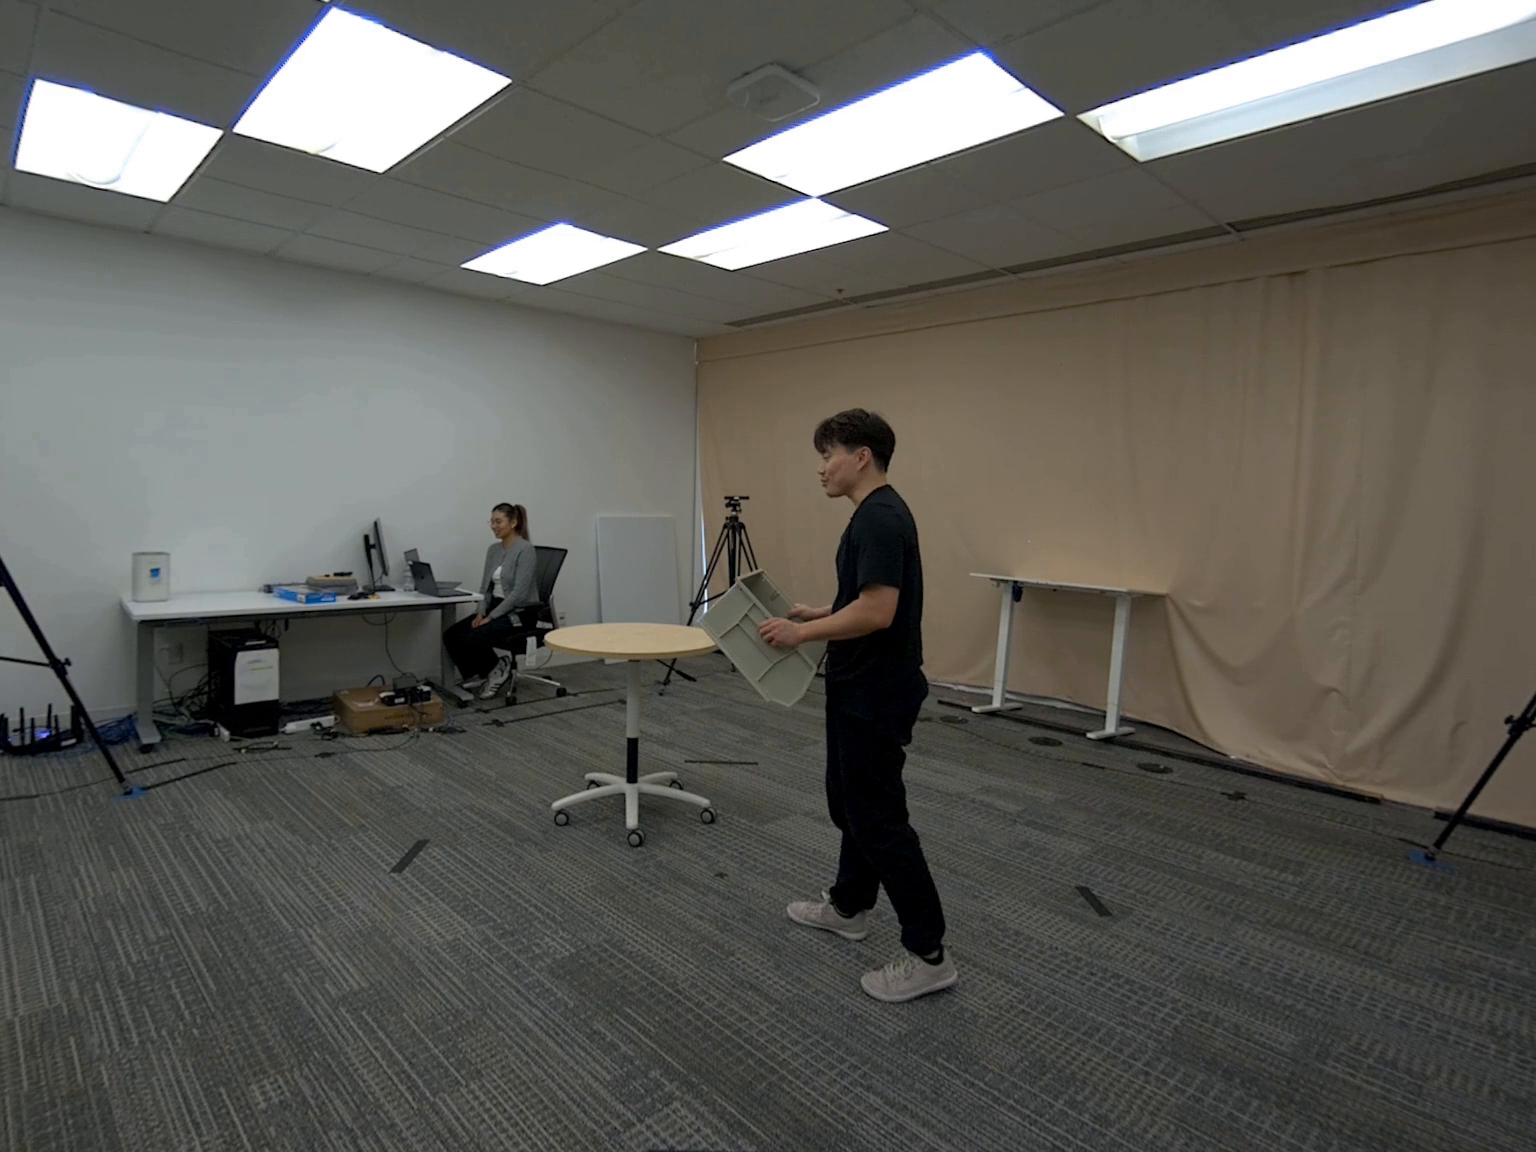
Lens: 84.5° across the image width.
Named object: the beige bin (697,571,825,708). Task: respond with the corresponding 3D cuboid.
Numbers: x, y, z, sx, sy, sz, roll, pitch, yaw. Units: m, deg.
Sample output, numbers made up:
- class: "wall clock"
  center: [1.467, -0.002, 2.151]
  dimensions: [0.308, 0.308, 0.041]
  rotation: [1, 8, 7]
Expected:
- class: "beige bin"
  center: [0.010, 0.192, 2.603]
  dimensions: [0.380, 0.189, 0.420]
  rotation: [46, 10, 4]
